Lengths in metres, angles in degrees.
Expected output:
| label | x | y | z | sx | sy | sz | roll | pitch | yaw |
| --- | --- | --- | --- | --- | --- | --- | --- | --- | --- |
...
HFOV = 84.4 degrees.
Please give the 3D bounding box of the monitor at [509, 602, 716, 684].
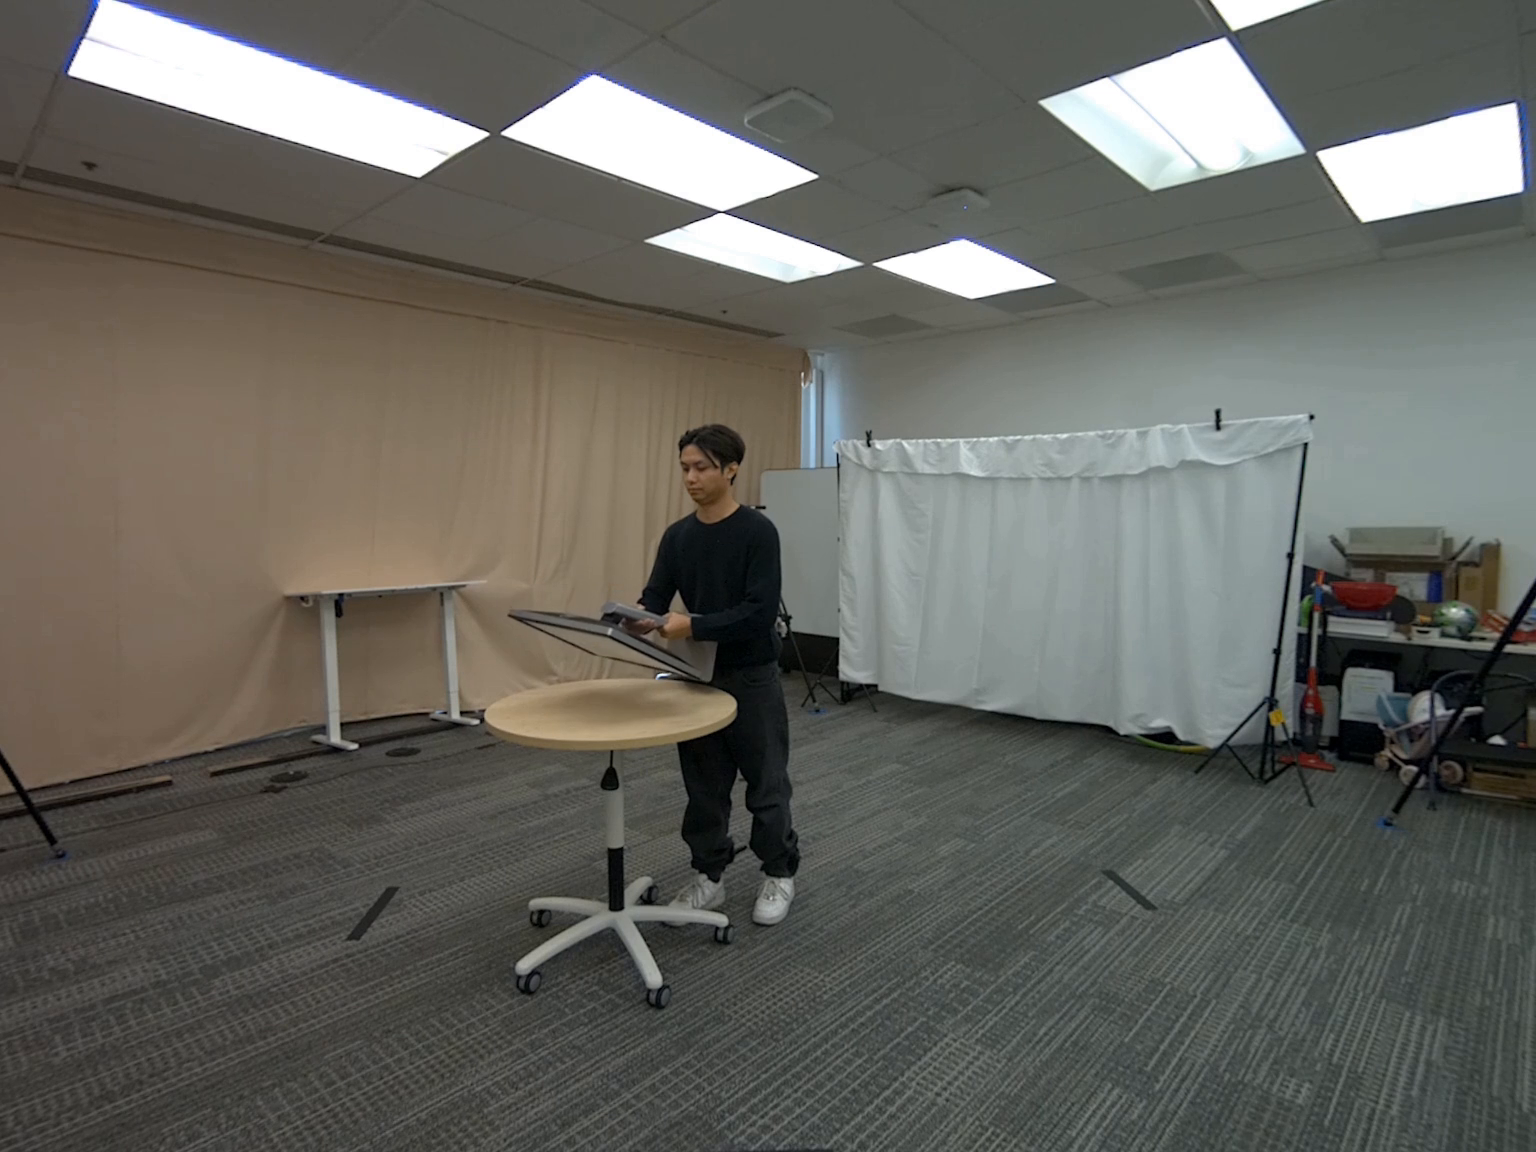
| label | x | y | z | sx | sy | sz | roll | pitch | yaw |
| --- | --- | --- | --- | --- | --- | --- | --- | --- | --- |
| monitor | -0.435 | 0.195 | 2.601 | 0.504 | 0.188 | 0.557 | 19 | -11 | -43 |
